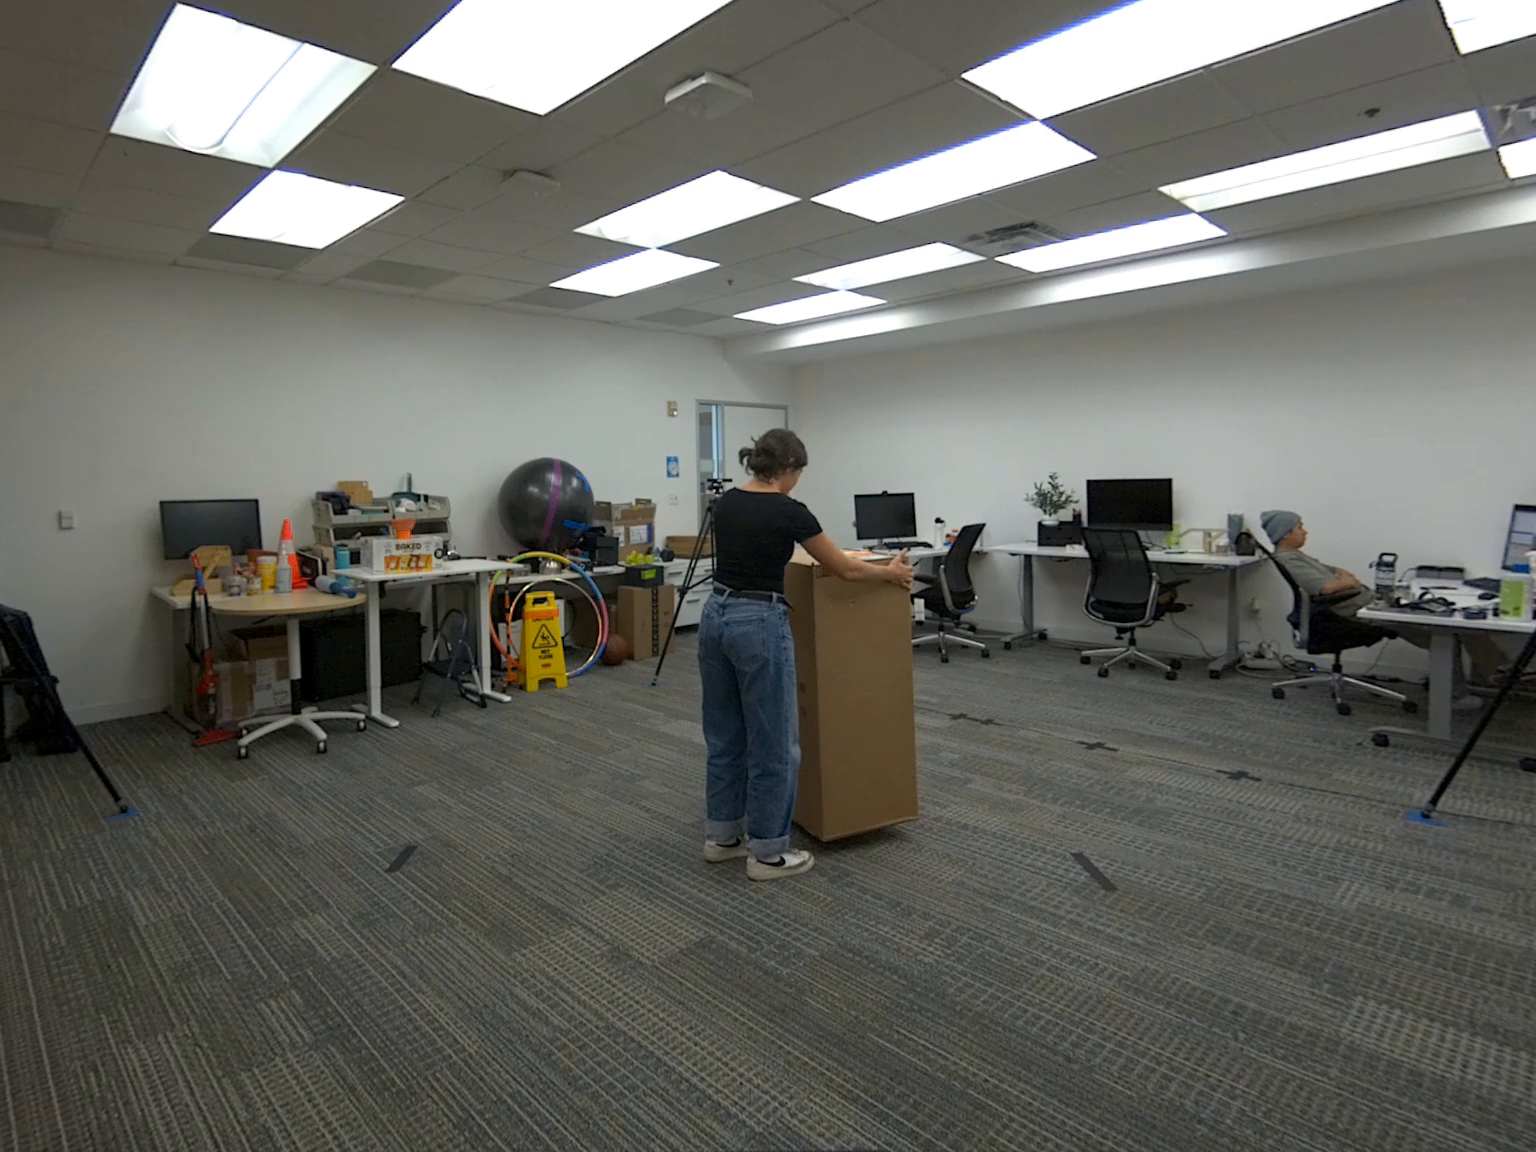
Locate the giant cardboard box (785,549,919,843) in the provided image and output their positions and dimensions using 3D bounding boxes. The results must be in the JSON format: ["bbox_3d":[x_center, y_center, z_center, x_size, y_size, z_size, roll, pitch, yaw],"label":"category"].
[{"bbox_3d":[0.252,0.429,3.445,0.418,1.021,0.592,-5,5,-25],"label":"giant cardboard box"}]
